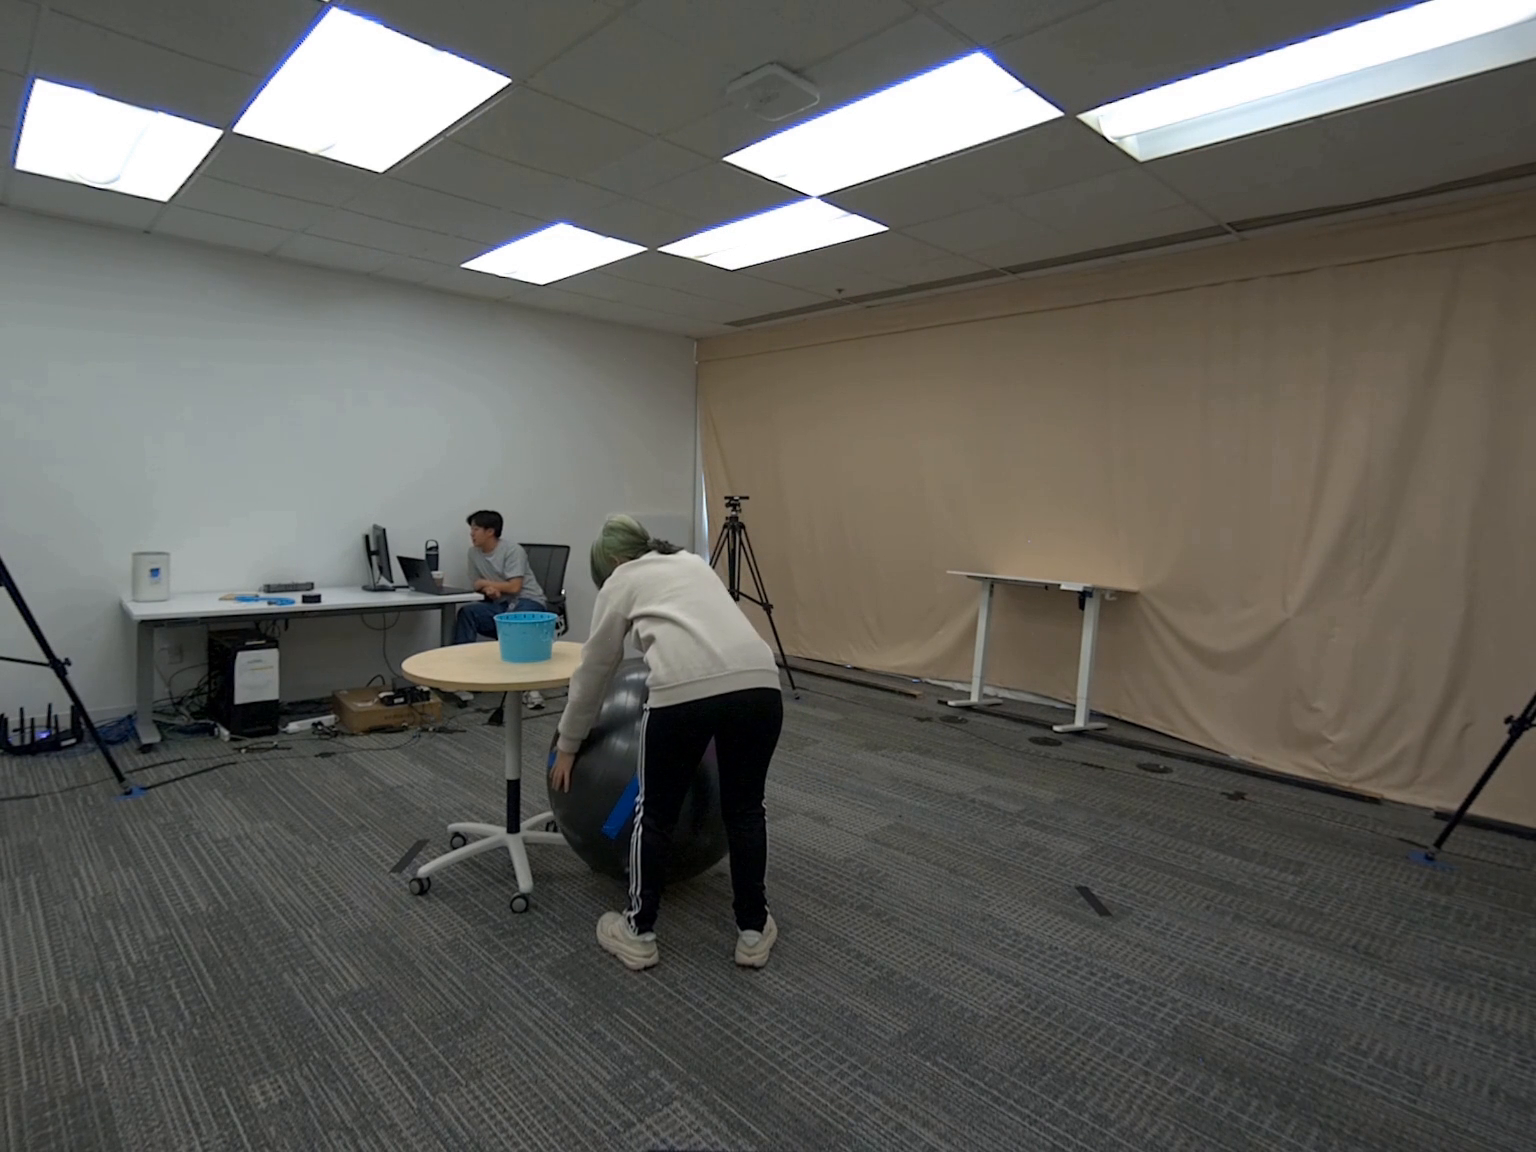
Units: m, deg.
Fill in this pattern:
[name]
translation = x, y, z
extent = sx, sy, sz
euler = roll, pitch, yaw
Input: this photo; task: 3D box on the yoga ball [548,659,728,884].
[yoga ball]
translation = -0.396, 0.694, 2.984
extent = 0.757, 0.756, 0.761
euler = 1, 4, -1
